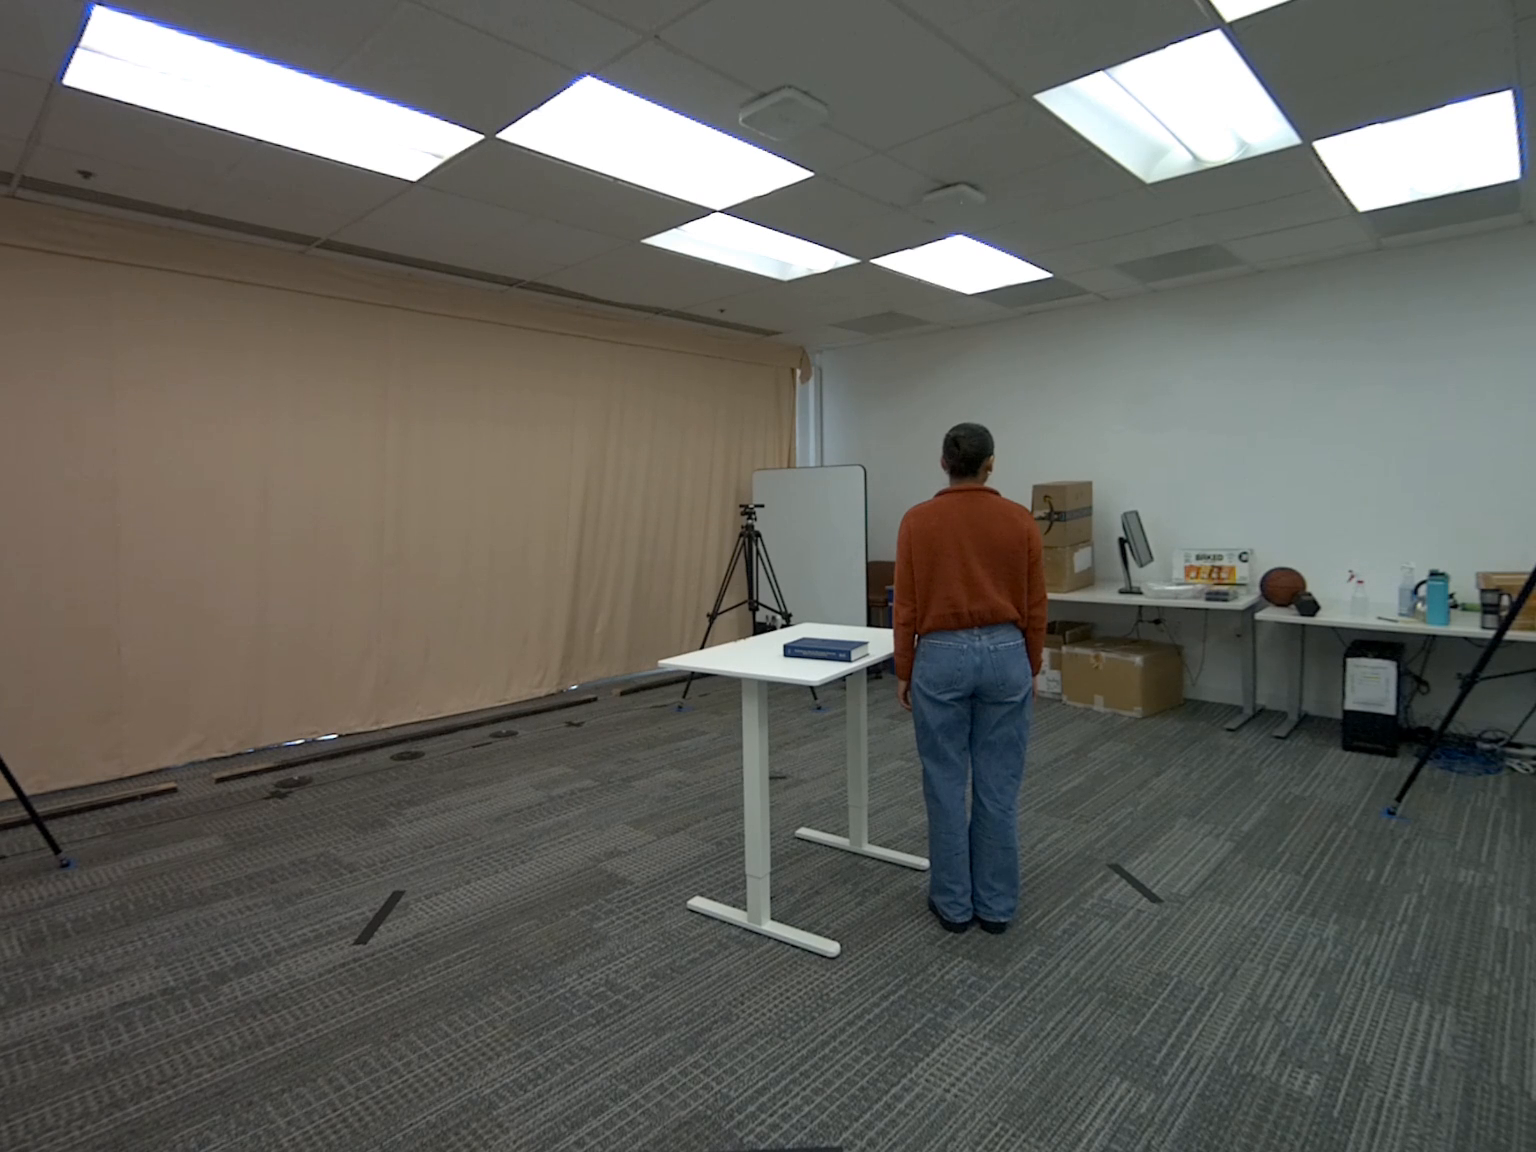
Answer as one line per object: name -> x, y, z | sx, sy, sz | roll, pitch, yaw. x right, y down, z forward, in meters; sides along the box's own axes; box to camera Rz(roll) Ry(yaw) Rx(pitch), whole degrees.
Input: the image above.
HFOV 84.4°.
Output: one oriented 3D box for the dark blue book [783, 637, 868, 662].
dark blue book -> 0.197, 0.246, 2.829 | 0.252, 0.045, 0.159 | 2, 5, 29
